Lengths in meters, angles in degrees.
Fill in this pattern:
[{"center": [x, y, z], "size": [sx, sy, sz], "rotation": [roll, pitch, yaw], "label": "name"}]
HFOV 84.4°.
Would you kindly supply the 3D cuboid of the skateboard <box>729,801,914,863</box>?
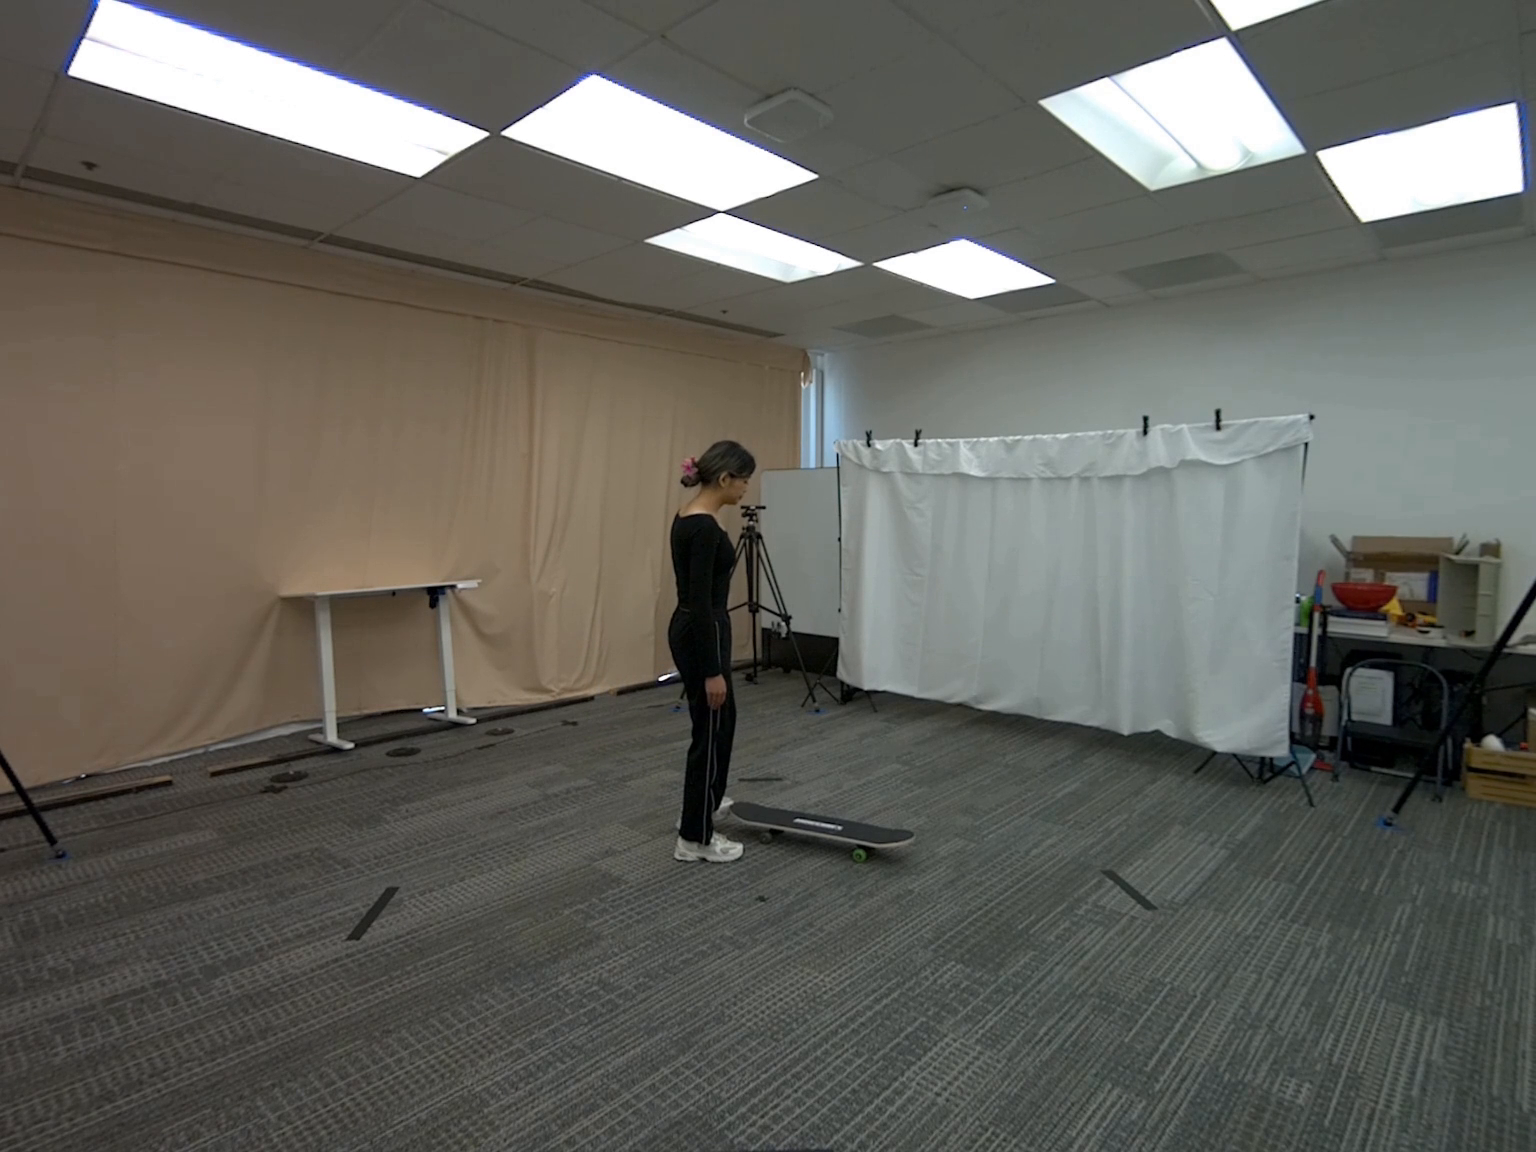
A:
[{"center": [0.211, 1.044, 3.441], "size": [0.805, 0.110, 0.189], "rotation": [2, 5, 25], "label": "skateboard"}]
